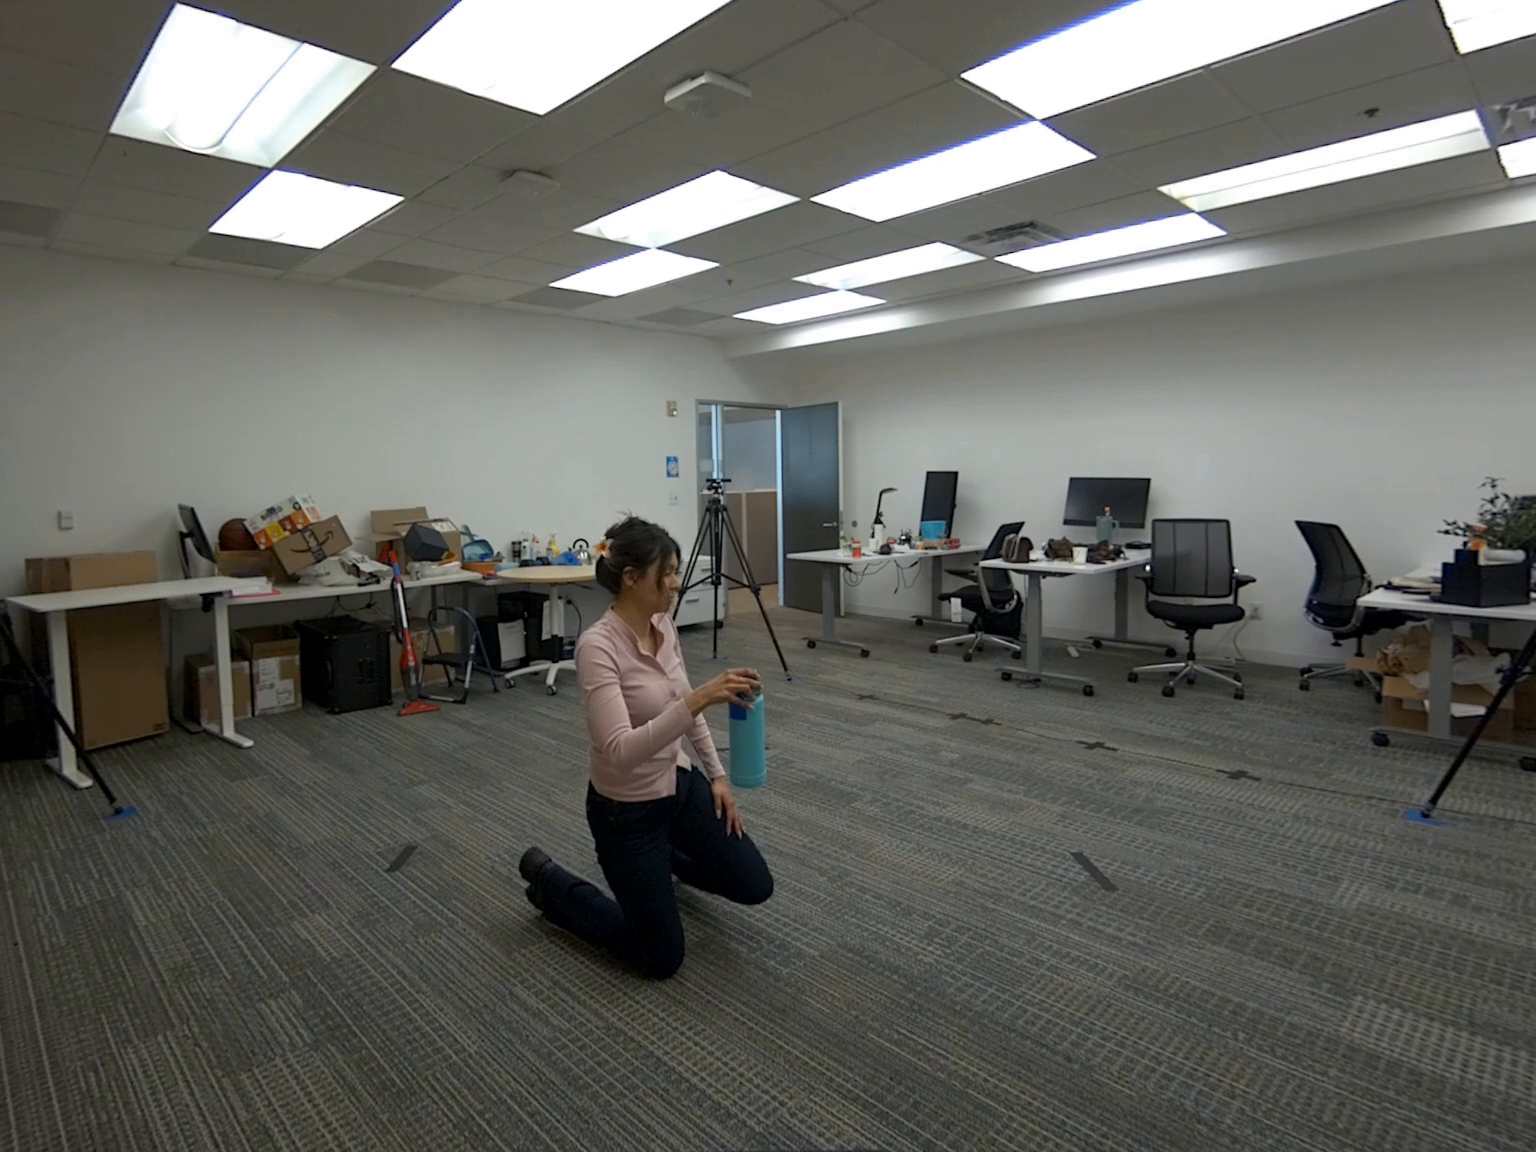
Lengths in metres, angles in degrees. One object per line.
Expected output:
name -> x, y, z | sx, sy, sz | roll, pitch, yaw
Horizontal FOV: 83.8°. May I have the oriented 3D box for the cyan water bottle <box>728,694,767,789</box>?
cyan water bottle -> -0.050, 0.376, 2.092 | 0.092, 0.282, 0.093 | -1, 5, -2
